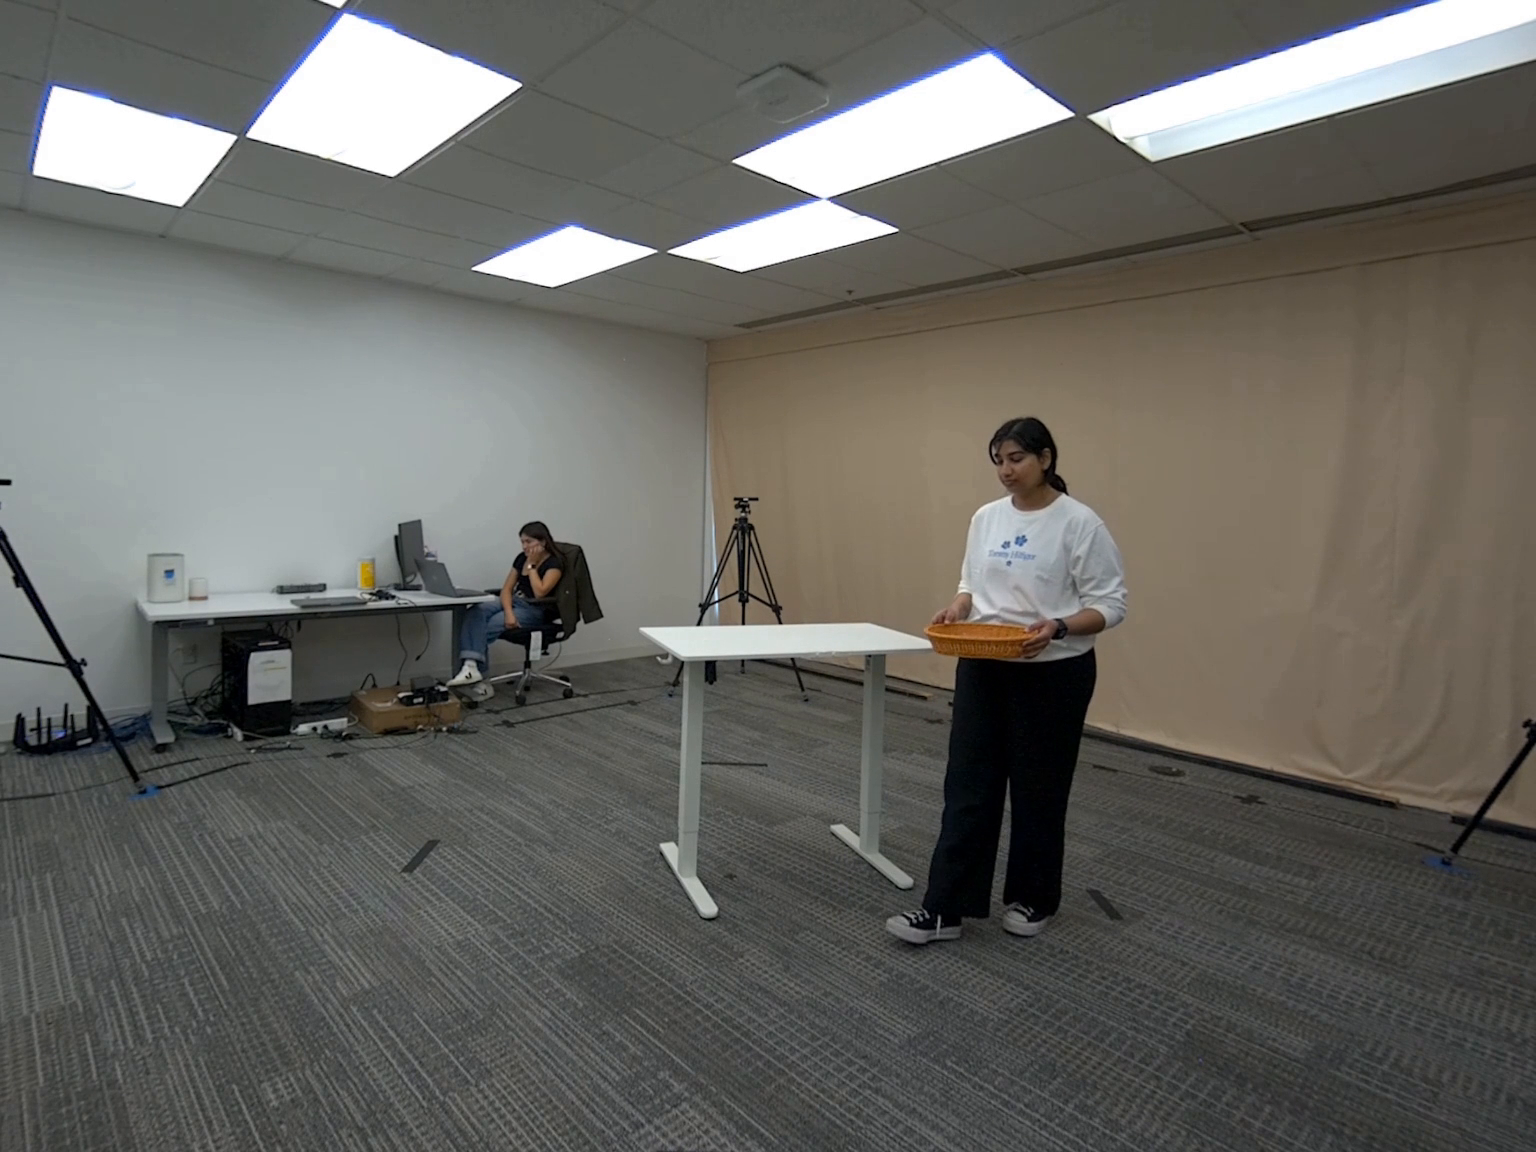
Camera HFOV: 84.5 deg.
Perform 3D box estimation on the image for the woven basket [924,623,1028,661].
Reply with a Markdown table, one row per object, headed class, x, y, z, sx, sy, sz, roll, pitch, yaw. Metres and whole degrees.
| class | x | y | z | sx | sy | sz | roll | pitch | yaw |
| --- | --- | --- | --- | --- | --- | --- | --- | --- | --- |
| woven basket | 0.655 | 0.200 | 2.540 | 0.356 | 0.073 | 0.249 | 0 | 5 | 20 |
